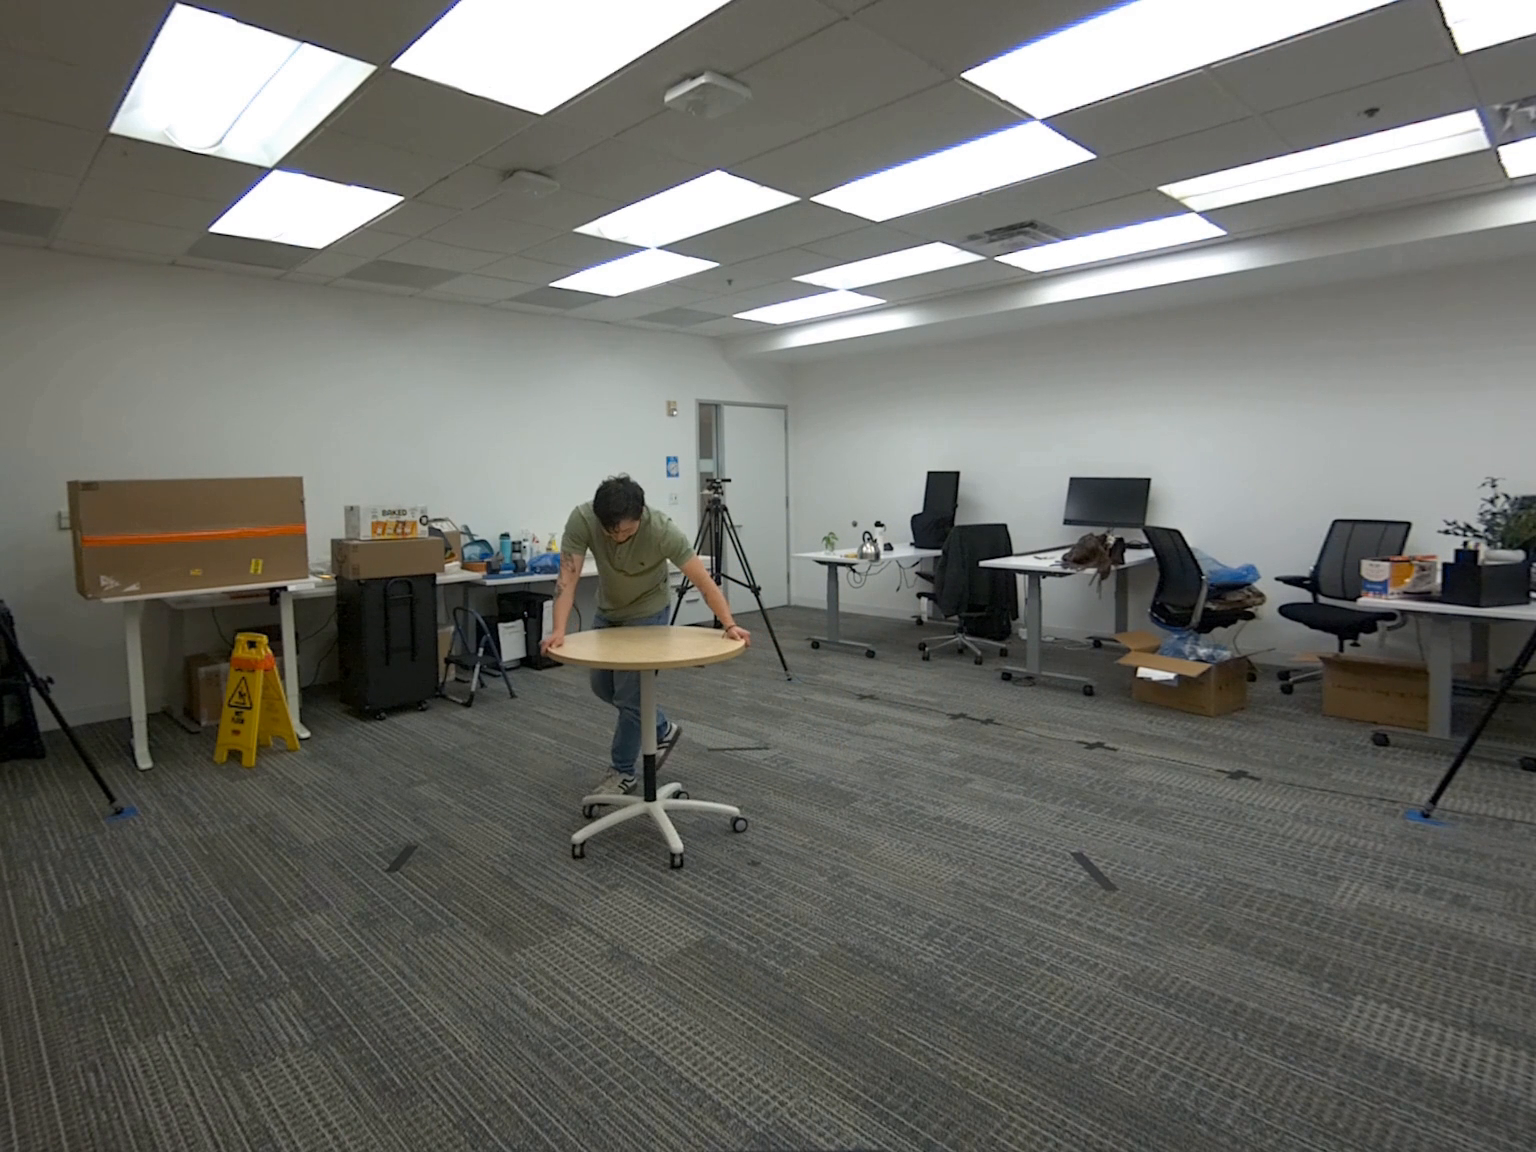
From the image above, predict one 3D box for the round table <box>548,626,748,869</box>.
[{"bbox_3d":[-0.464,0.641,3.353,0.763,0.791,0.768,-1,5,-2],"label":"round table"}]
